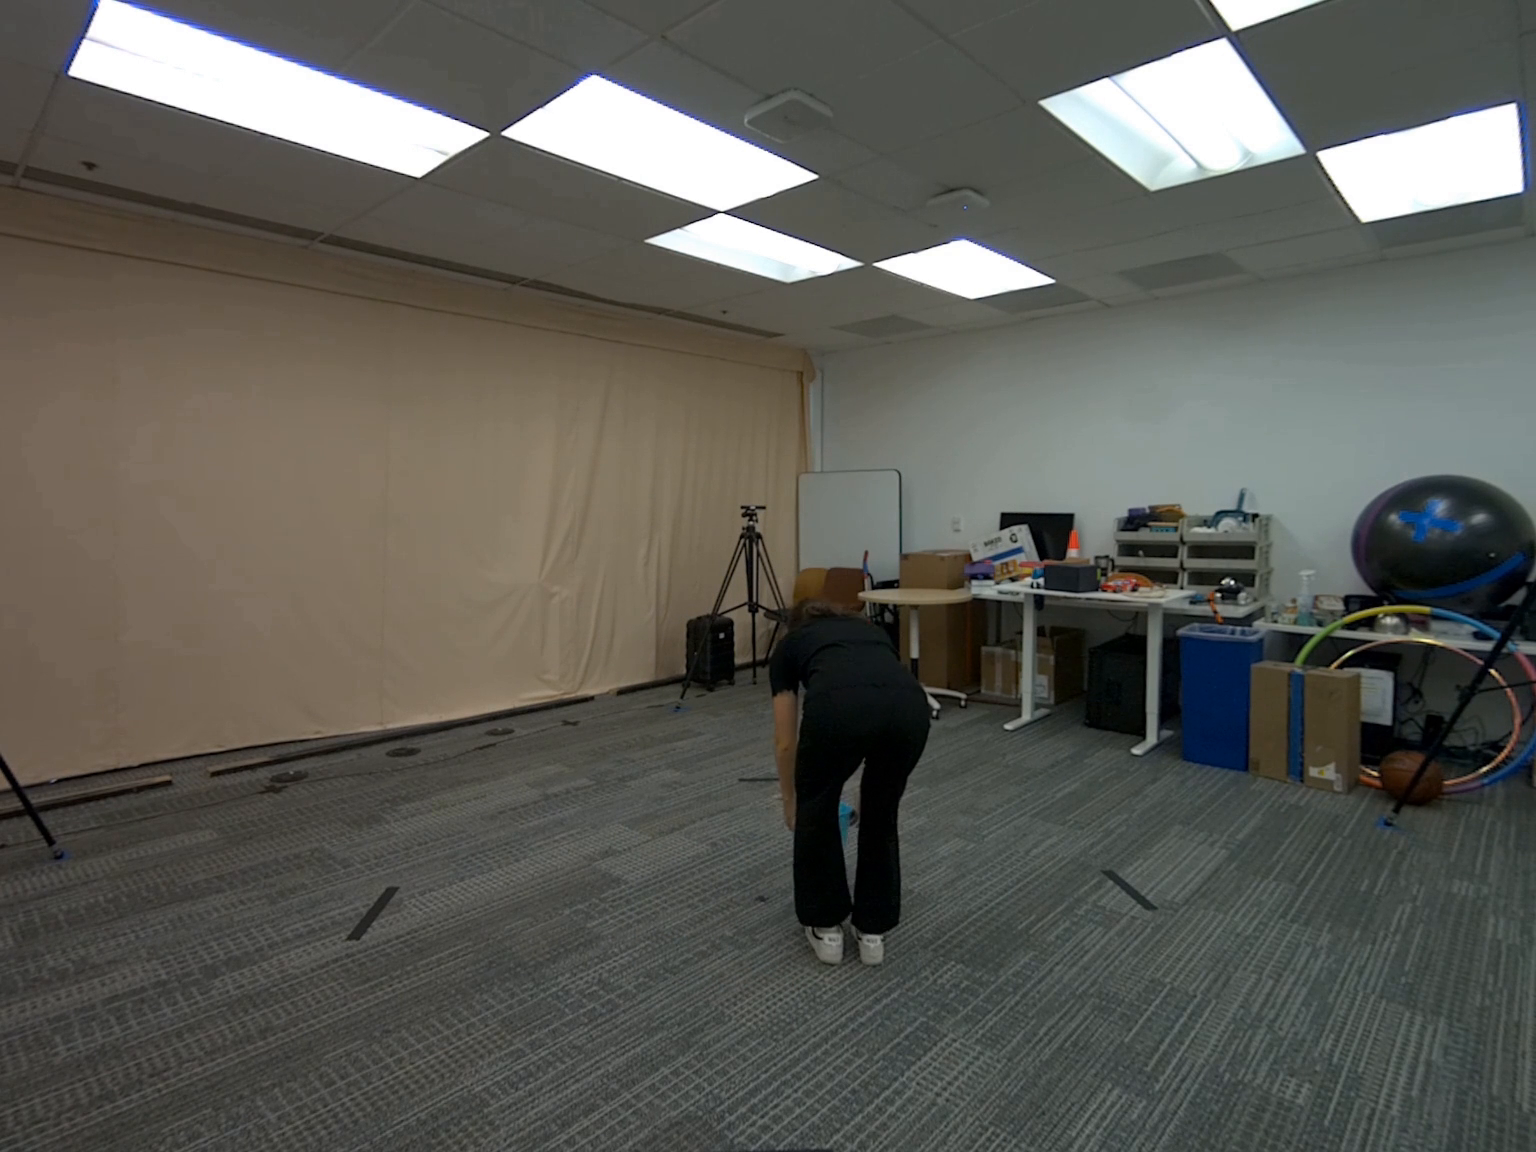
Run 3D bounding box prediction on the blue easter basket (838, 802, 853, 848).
[{"bbox_3d":[0.186,0.885,2.953,0.243,0.156,0.243,2,-3,-2],"label":"blue easter basket"}]
